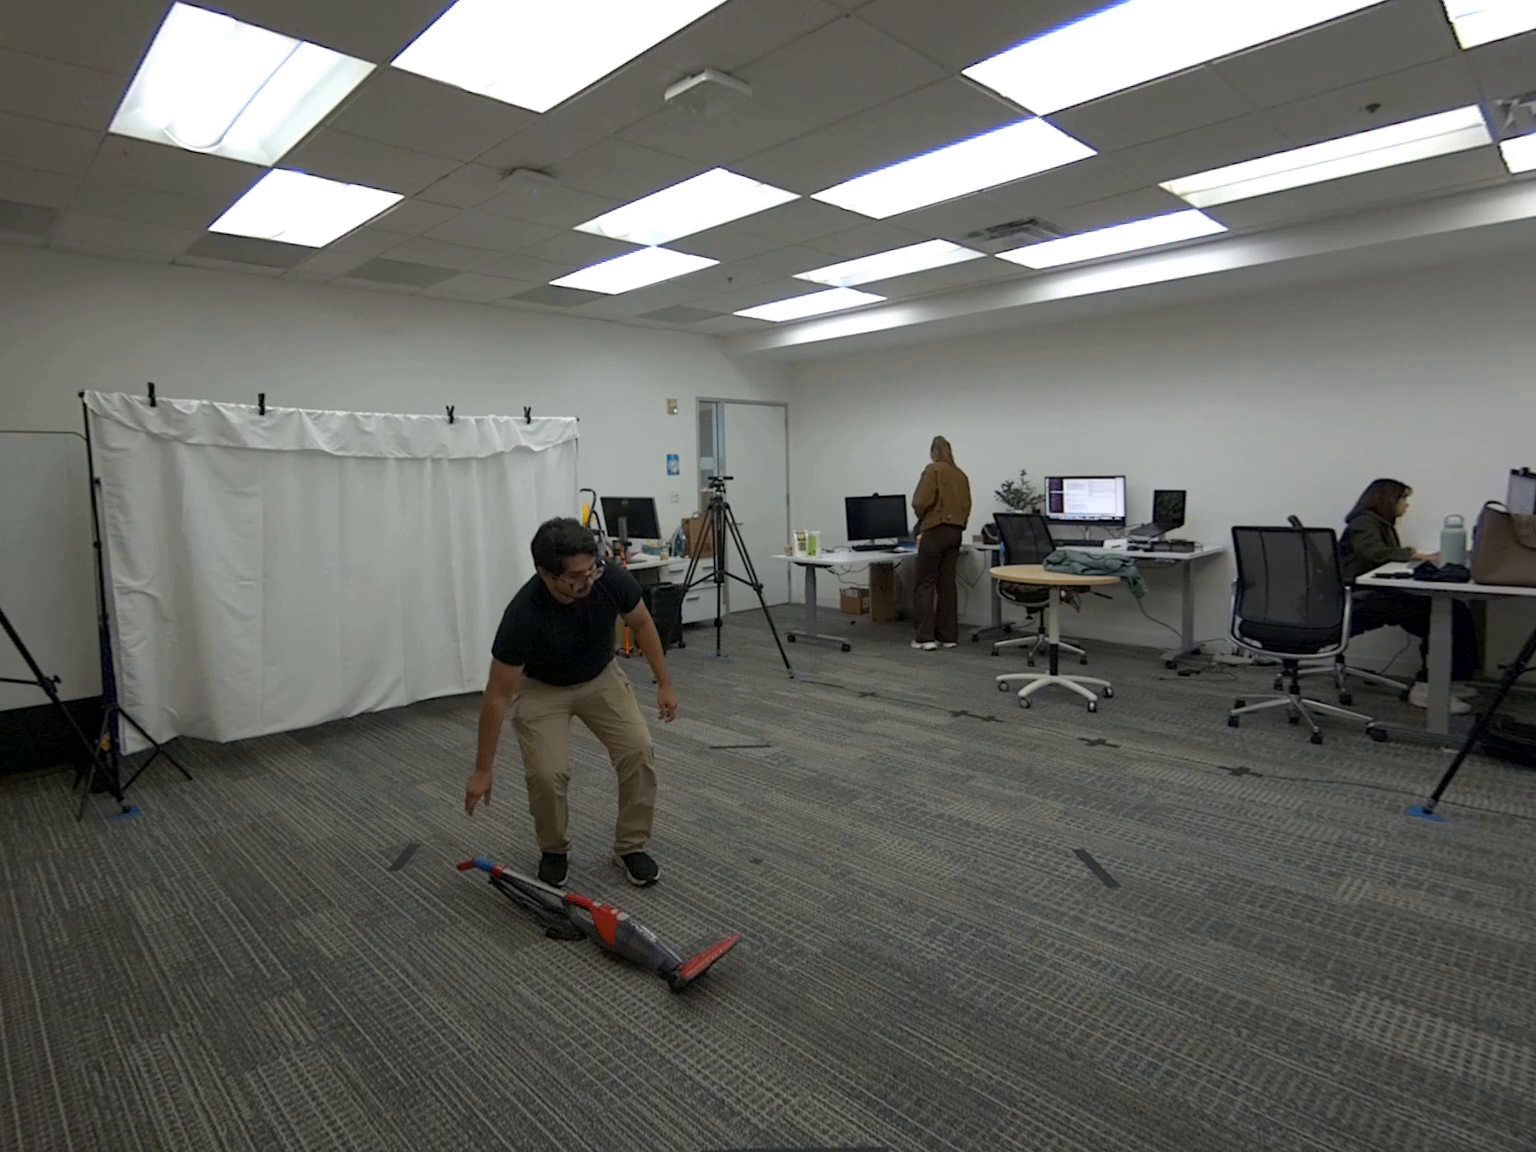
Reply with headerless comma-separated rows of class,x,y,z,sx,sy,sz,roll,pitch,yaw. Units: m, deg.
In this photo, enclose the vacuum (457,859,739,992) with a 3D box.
vacuum,-0.613,1.049,2.646,1.080,0.143,0.246,4,7,34
